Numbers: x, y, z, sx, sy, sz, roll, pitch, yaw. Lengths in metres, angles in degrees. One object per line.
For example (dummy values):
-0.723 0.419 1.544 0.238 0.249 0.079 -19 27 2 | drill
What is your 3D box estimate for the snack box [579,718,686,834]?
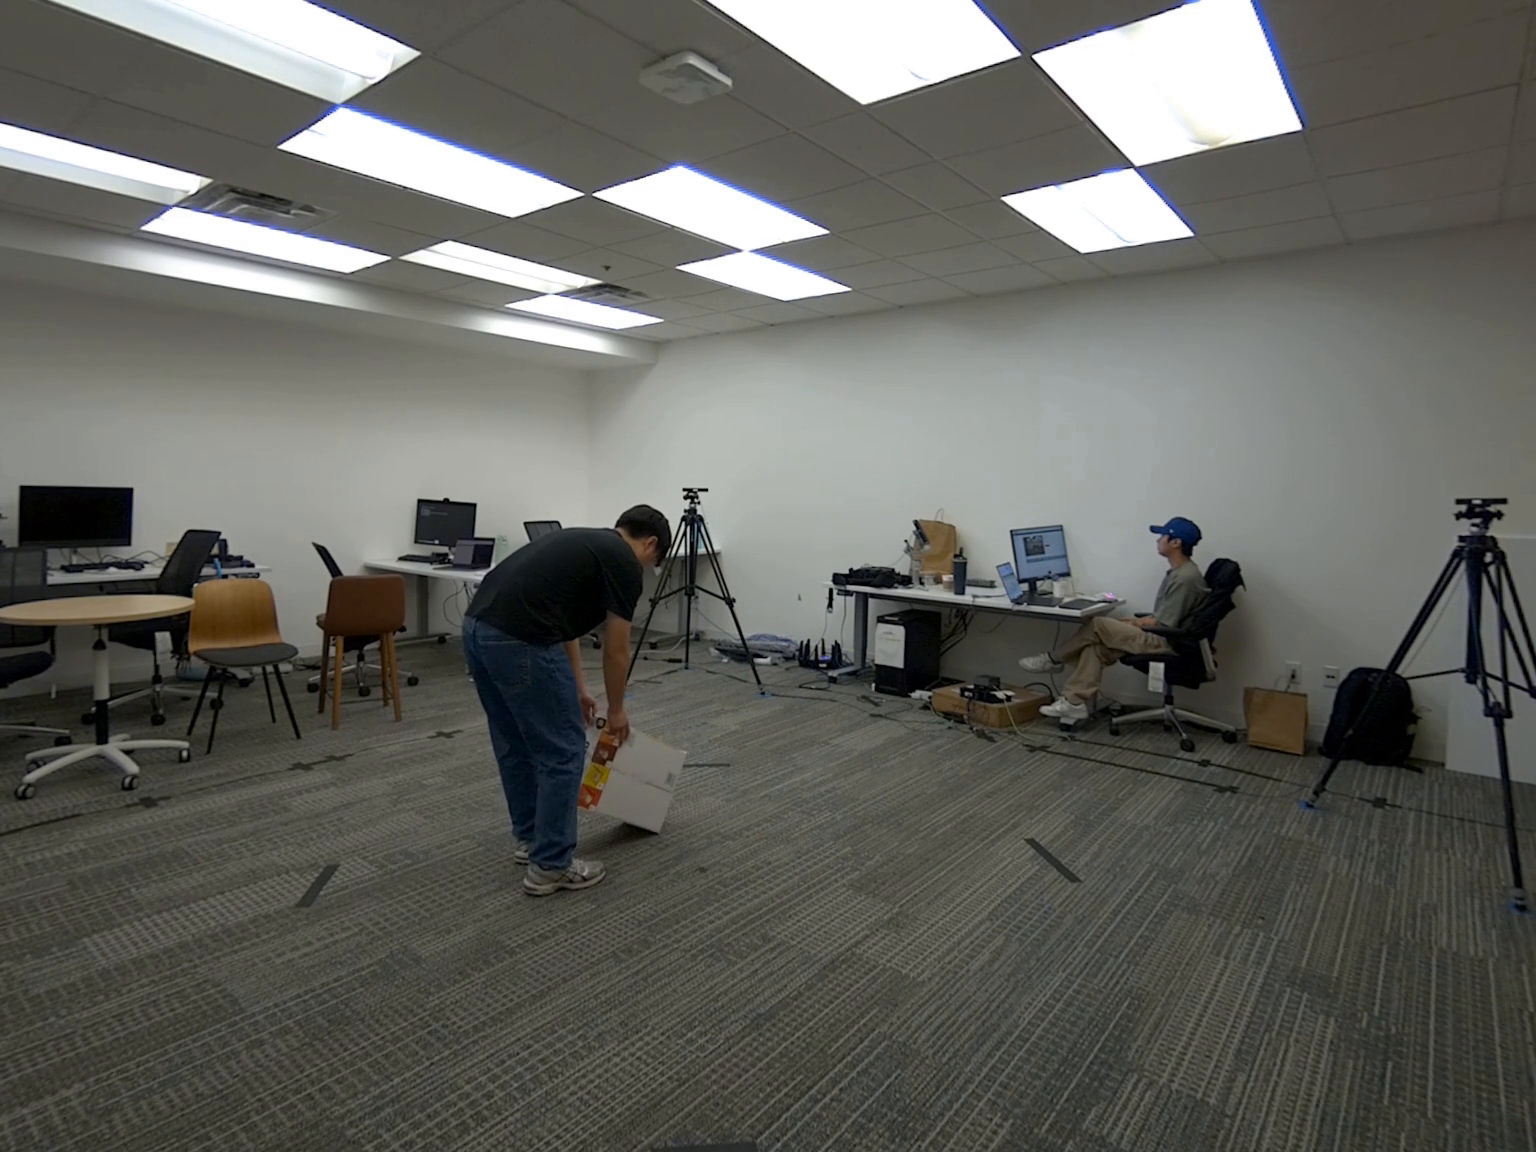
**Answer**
-0.581 0.791 3.401 0.213 0.343 0.388 5 -22 39 | snack box
